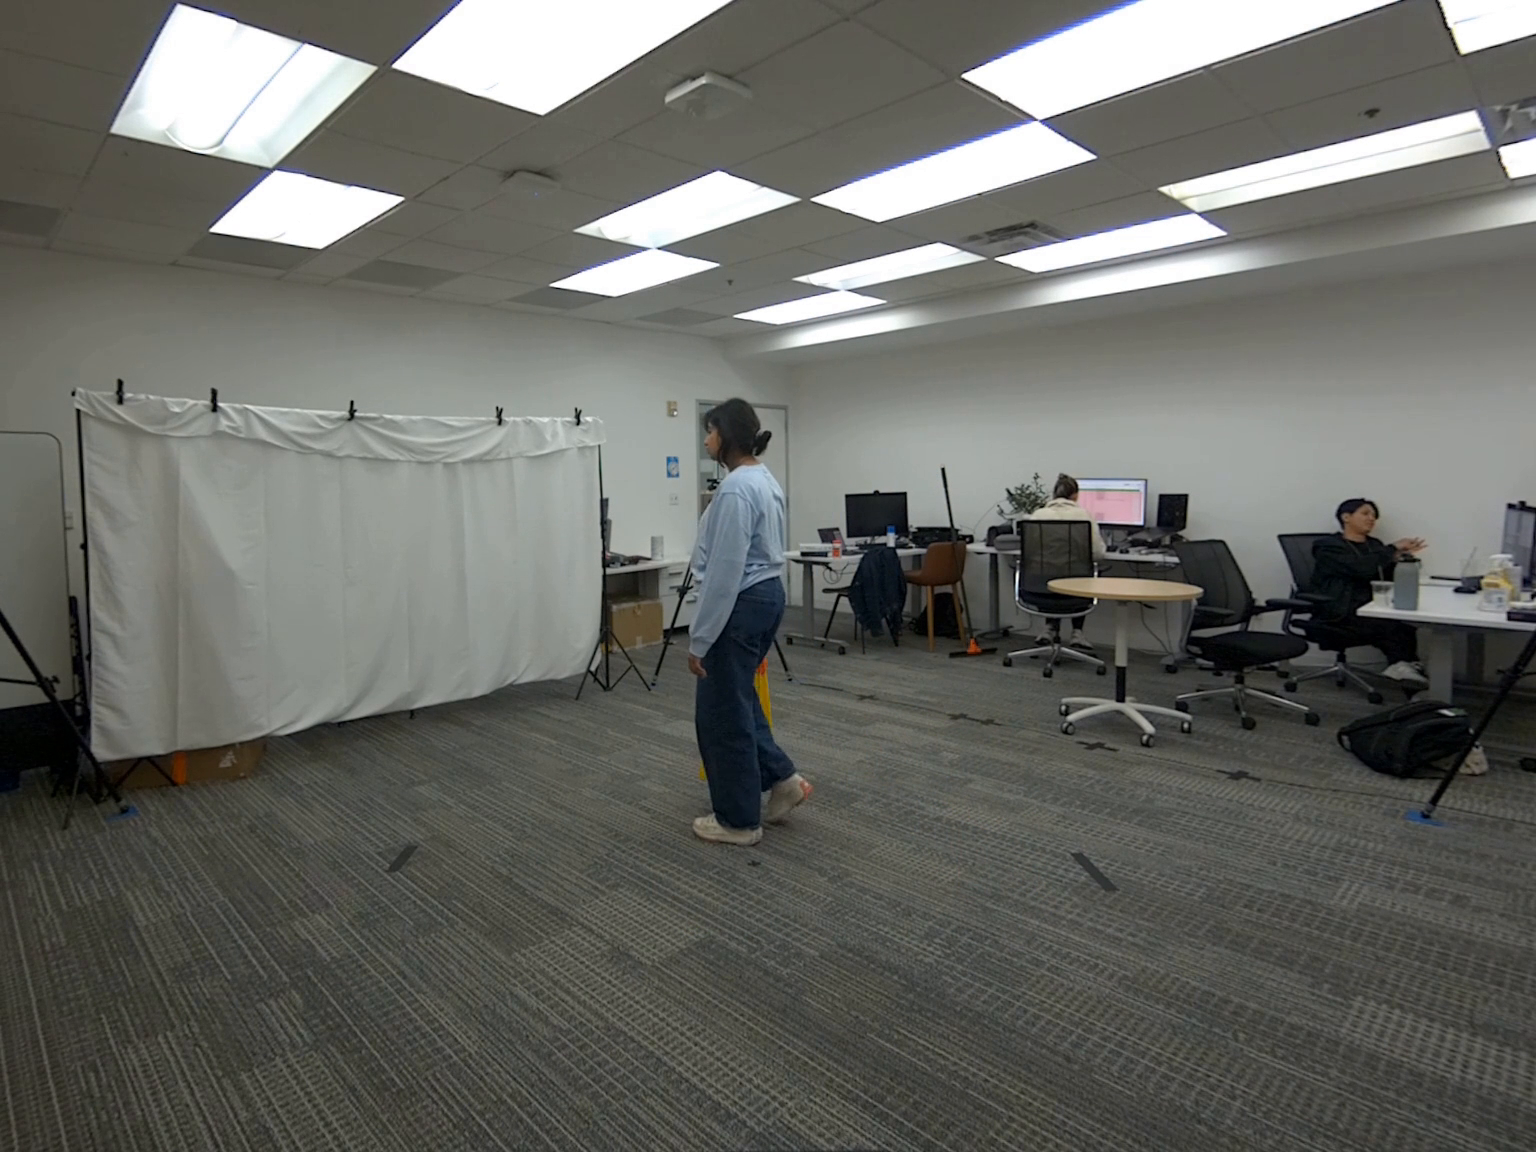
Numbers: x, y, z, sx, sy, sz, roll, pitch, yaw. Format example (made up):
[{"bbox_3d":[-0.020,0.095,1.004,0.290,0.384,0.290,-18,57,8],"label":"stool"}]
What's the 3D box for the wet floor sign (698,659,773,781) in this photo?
[{"bbox_3d":[-0.128,0.553,3.714,0.287,0.640,0.287,4,10,17],"label":"wet floor sign"}]
